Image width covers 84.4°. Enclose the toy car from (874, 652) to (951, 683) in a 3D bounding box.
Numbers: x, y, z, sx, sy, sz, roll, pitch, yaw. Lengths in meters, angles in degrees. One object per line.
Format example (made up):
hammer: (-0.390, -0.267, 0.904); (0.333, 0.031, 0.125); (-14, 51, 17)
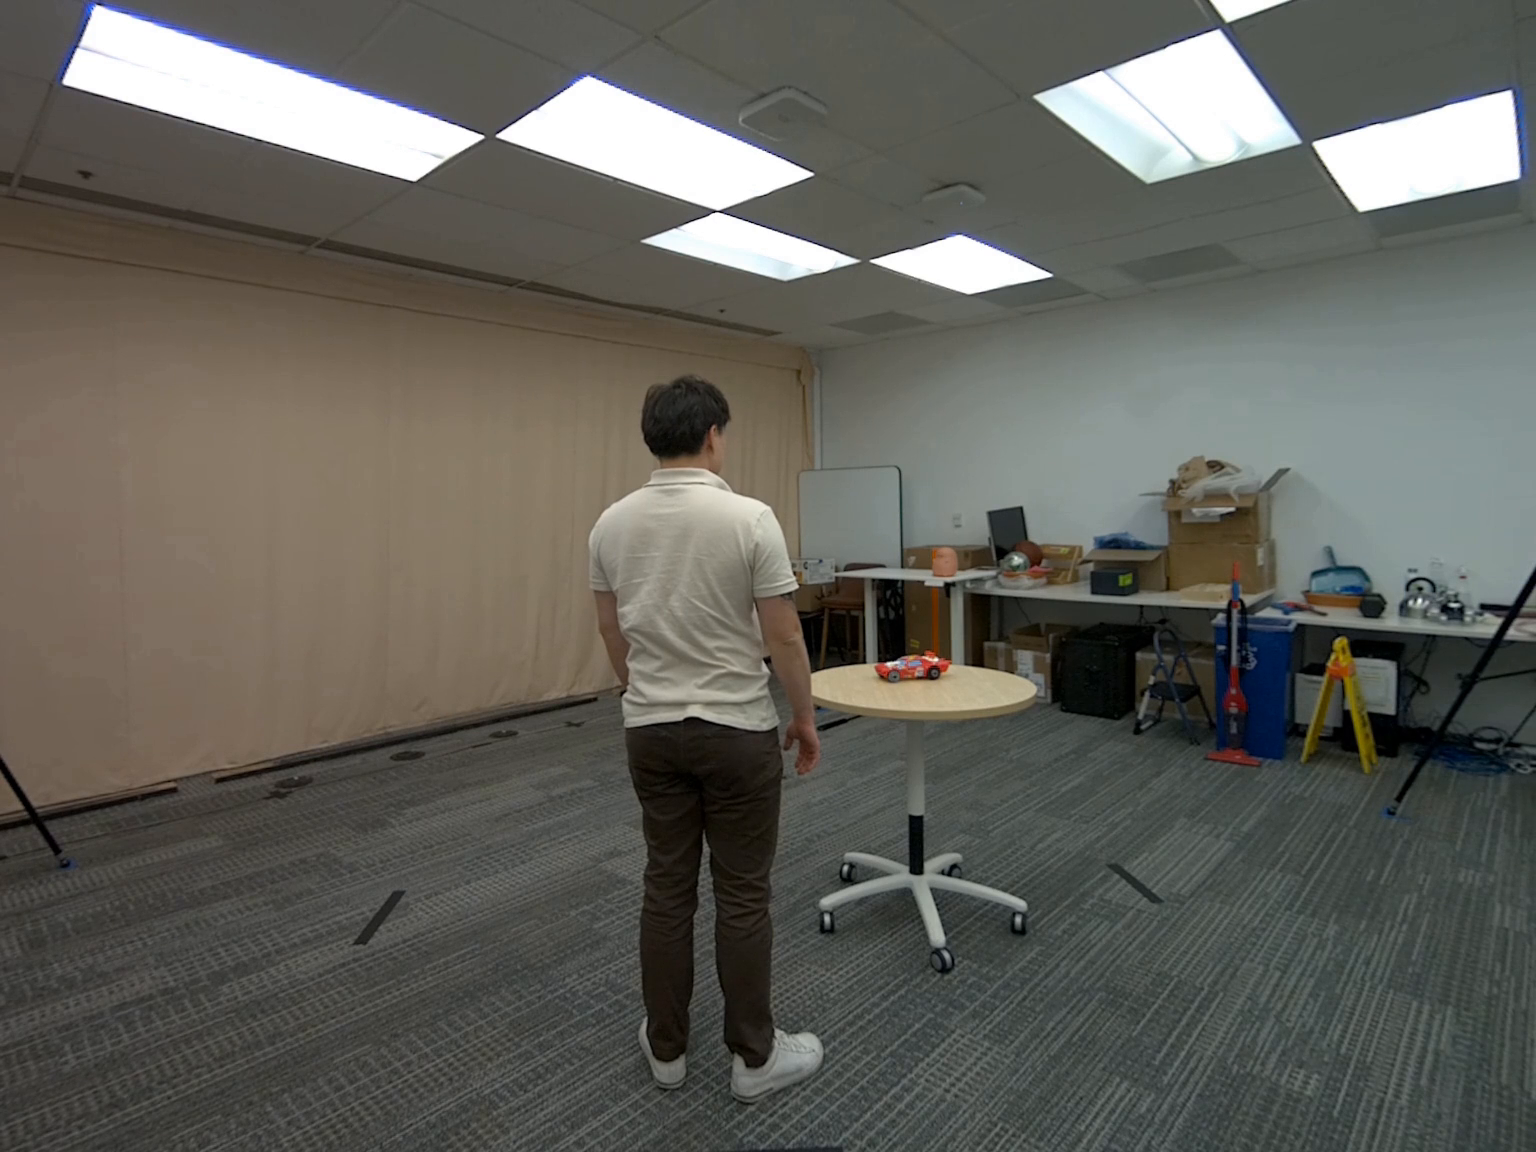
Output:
toy car: (0.514, 0.319, 2.906); (0.252, 0.083, 0.132); (-14, 7, -11)
